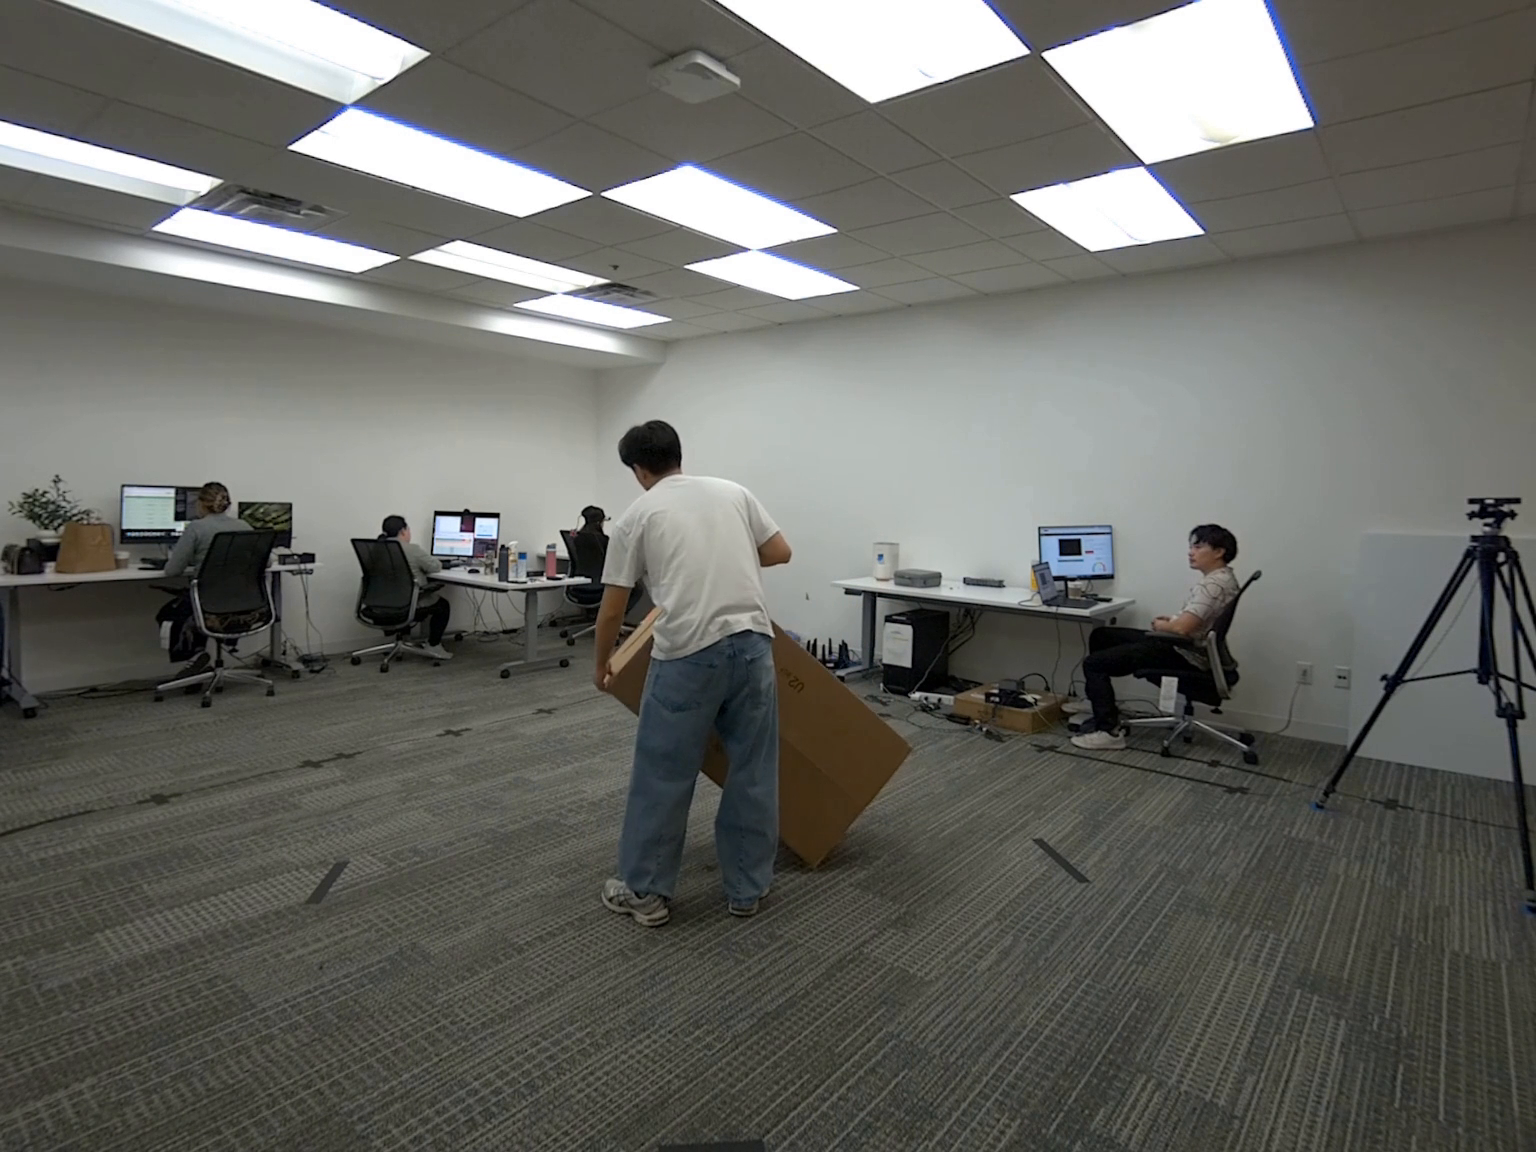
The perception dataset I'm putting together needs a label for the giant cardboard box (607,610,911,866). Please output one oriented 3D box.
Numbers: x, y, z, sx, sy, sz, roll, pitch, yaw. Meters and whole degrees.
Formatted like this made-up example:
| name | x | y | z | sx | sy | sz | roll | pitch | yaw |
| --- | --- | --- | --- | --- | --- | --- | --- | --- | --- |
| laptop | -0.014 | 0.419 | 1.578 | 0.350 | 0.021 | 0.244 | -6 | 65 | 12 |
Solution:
| name | x | y | z | sx | sy | sz | roll | pitch | yaw |
| --- | --- | --- | --- | --- | --- | --- | --- | --- | --- |
| giant cardboard box | -0.066 | 0.505 | 3.262 | 1.014 | 0.577 | 0.431 | 42 | -7 | -8 |
